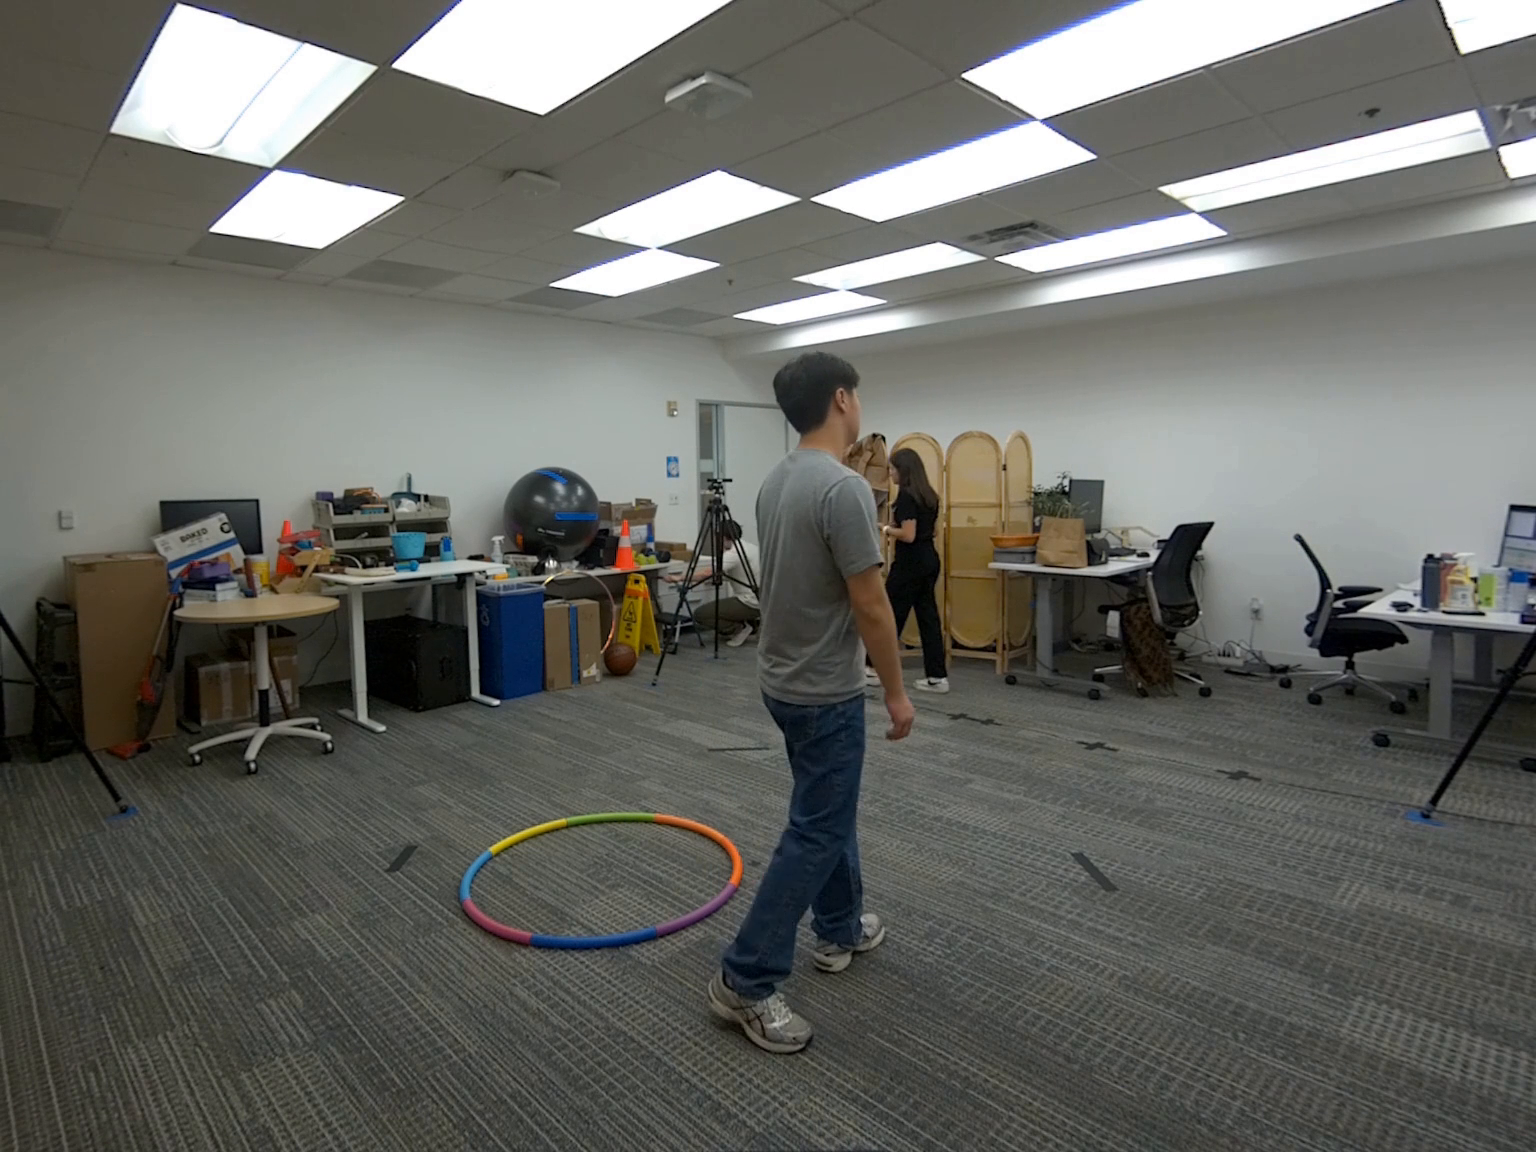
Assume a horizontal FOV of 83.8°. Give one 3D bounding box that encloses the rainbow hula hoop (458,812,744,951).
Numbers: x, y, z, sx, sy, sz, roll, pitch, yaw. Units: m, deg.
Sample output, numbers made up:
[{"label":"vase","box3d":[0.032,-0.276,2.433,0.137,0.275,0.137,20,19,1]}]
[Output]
[{"label":"rainbow hula hoop","box3d":[-0.580,1.031,3.039,0.978,0.035,0.984,-1,7,-2]}]
